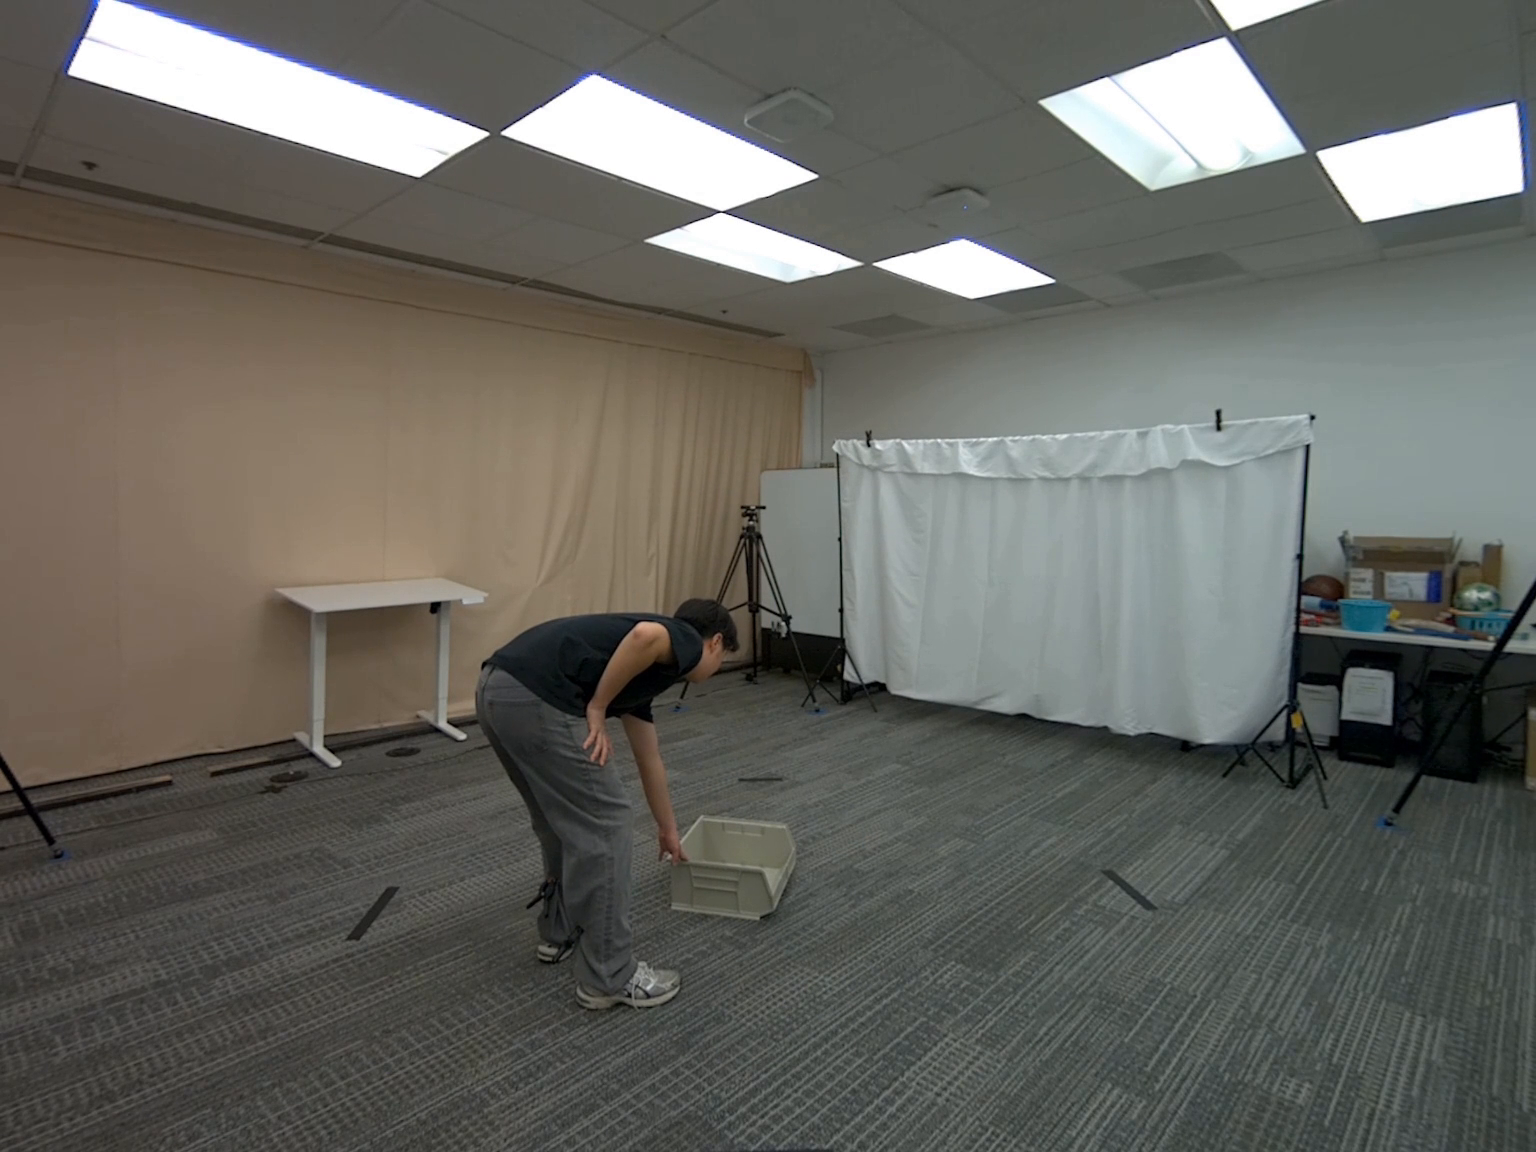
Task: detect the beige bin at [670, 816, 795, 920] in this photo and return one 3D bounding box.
[{"bbox_3d":[-0.117,1.052,3.054,0.383,0.188,0.417,0,5,13],"label":"beige bin"}]
